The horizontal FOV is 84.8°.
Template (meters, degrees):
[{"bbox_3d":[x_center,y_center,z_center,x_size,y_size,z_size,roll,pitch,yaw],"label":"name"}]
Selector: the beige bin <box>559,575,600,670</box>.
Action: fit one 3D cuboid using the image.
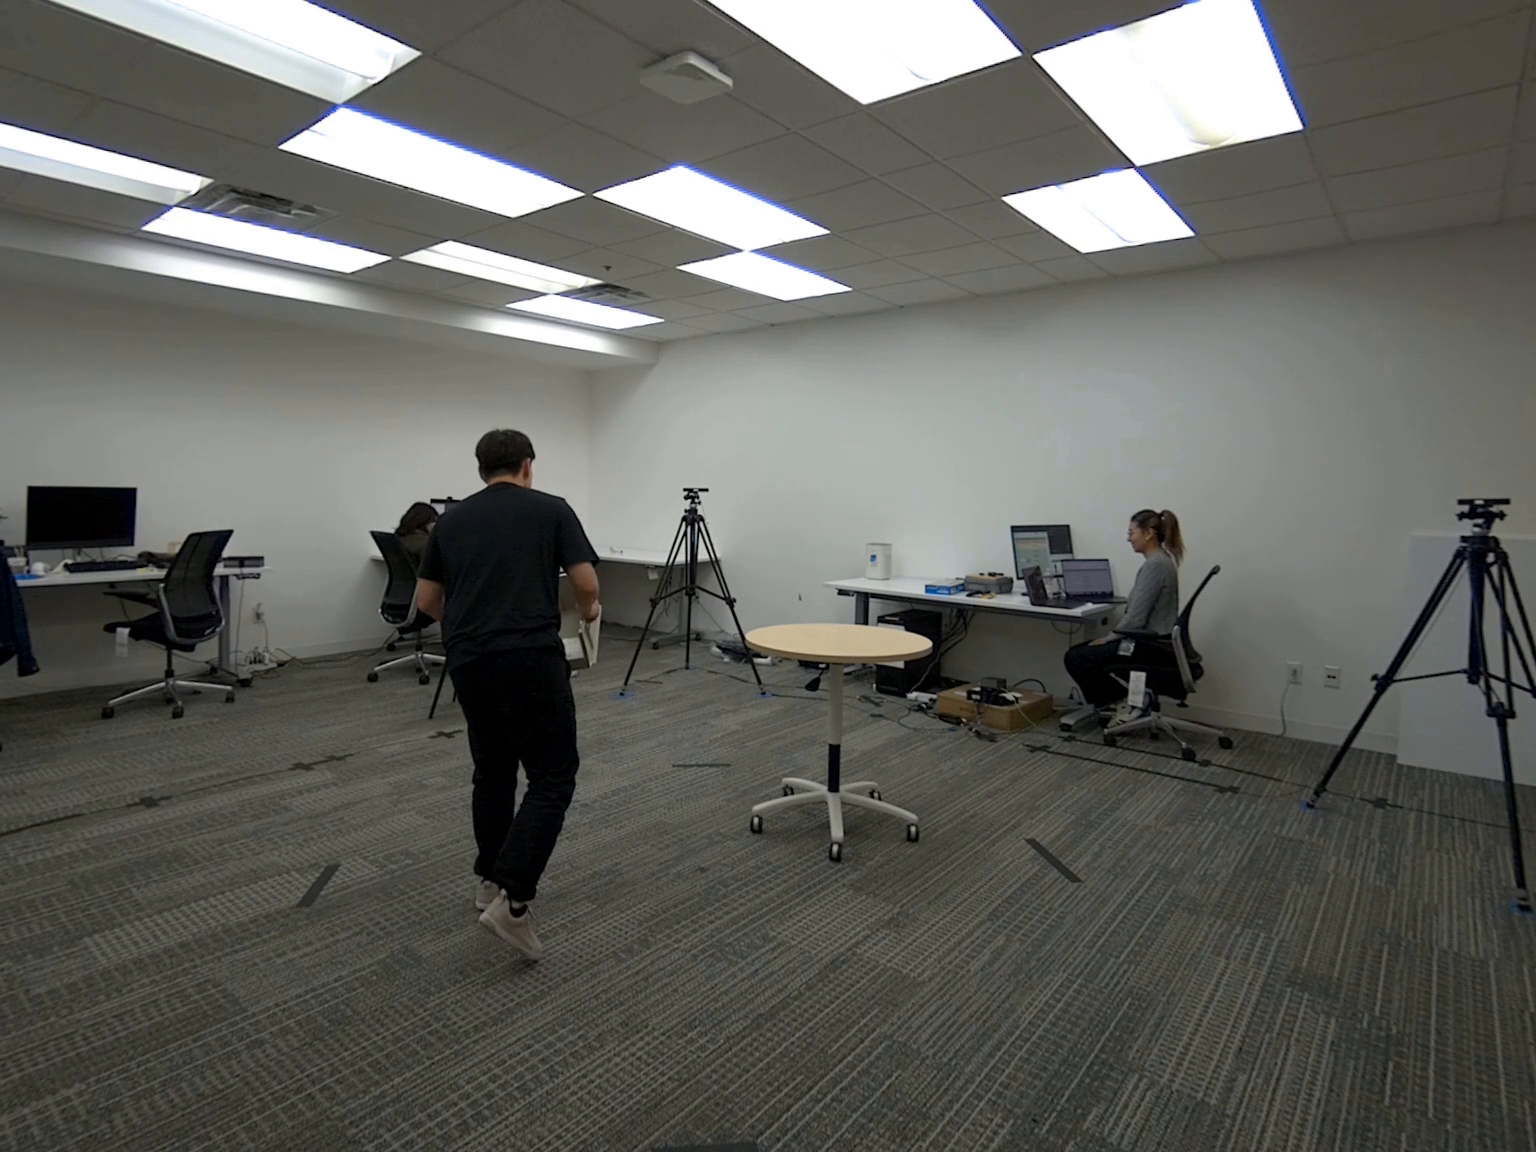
[{"bbox_3d":[-0.851,0.201,3.132,0.425,0.182,0.389,-11,39,6],"label":"beige bin"}]
